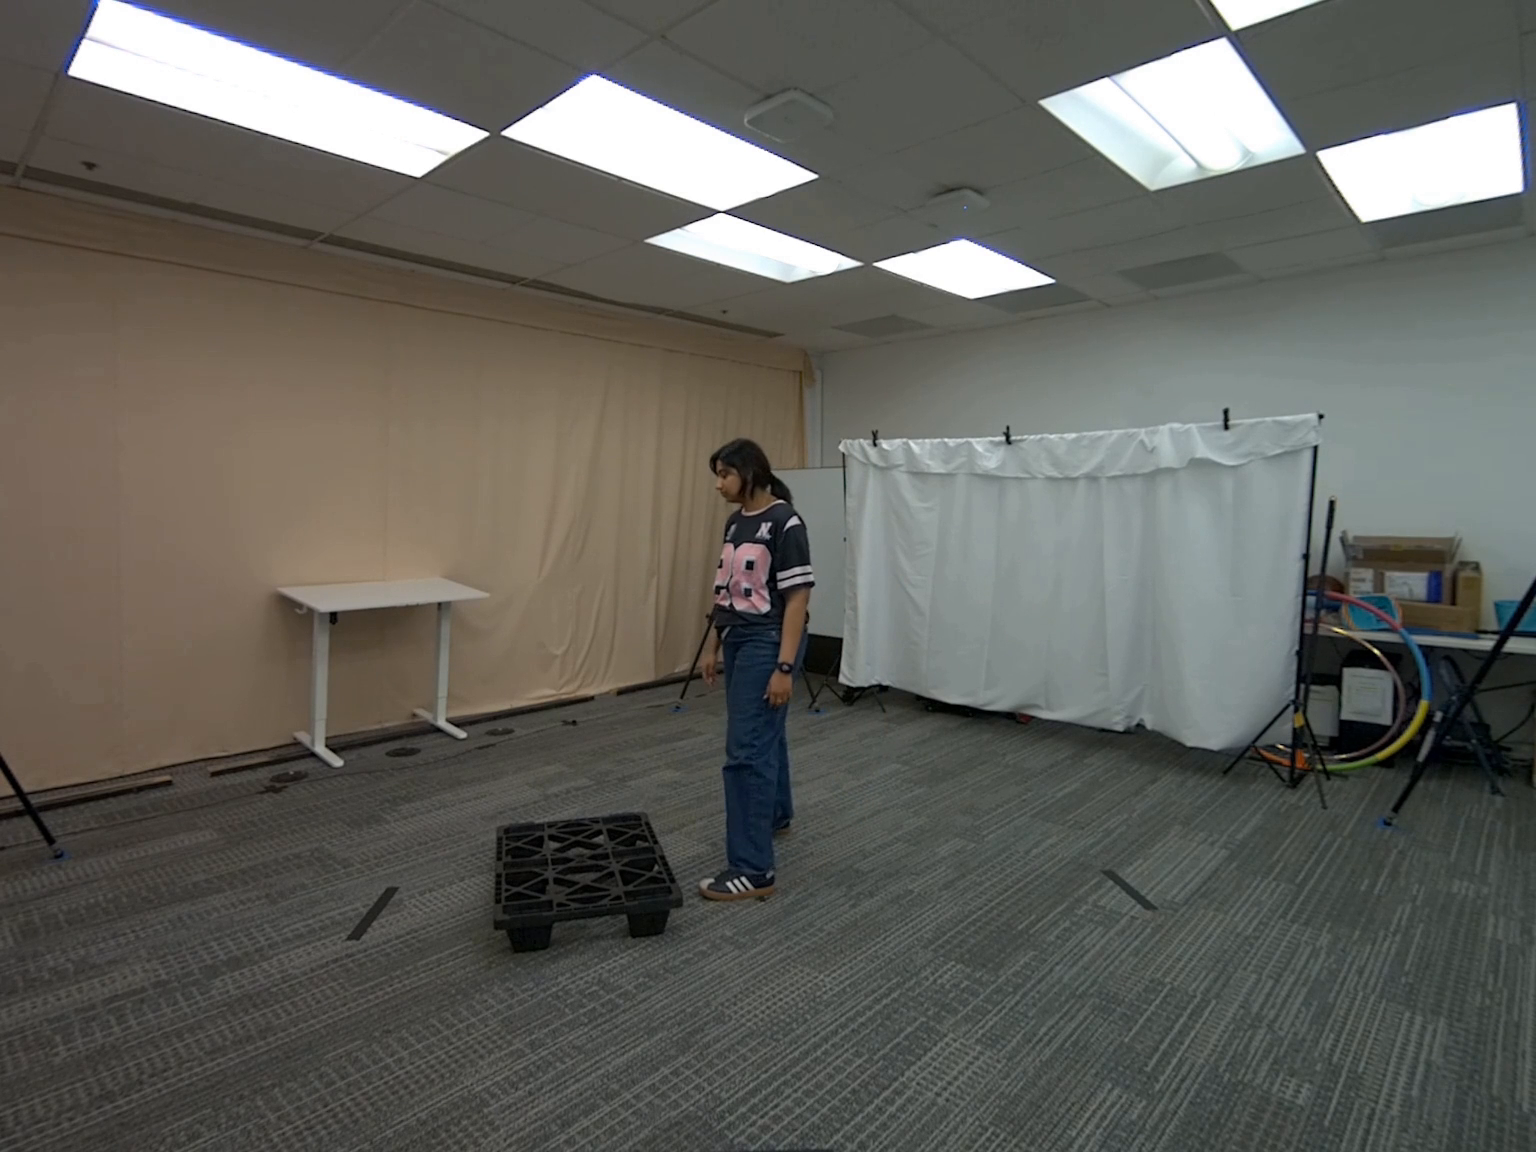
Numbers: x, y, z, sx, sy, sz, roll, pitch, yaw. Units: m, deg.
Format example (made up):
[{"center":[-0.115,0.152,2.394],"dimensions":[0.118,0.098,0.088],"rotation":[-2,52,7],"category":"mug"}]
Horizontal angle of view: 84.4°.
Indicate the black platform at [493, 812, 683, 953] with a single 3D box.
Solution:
[{"center":[-0.673,1.080,3.033],"dimensions":[0.596,0.143,0.820],"rotation":[-1,5,-16],"category":"black platform"}]
